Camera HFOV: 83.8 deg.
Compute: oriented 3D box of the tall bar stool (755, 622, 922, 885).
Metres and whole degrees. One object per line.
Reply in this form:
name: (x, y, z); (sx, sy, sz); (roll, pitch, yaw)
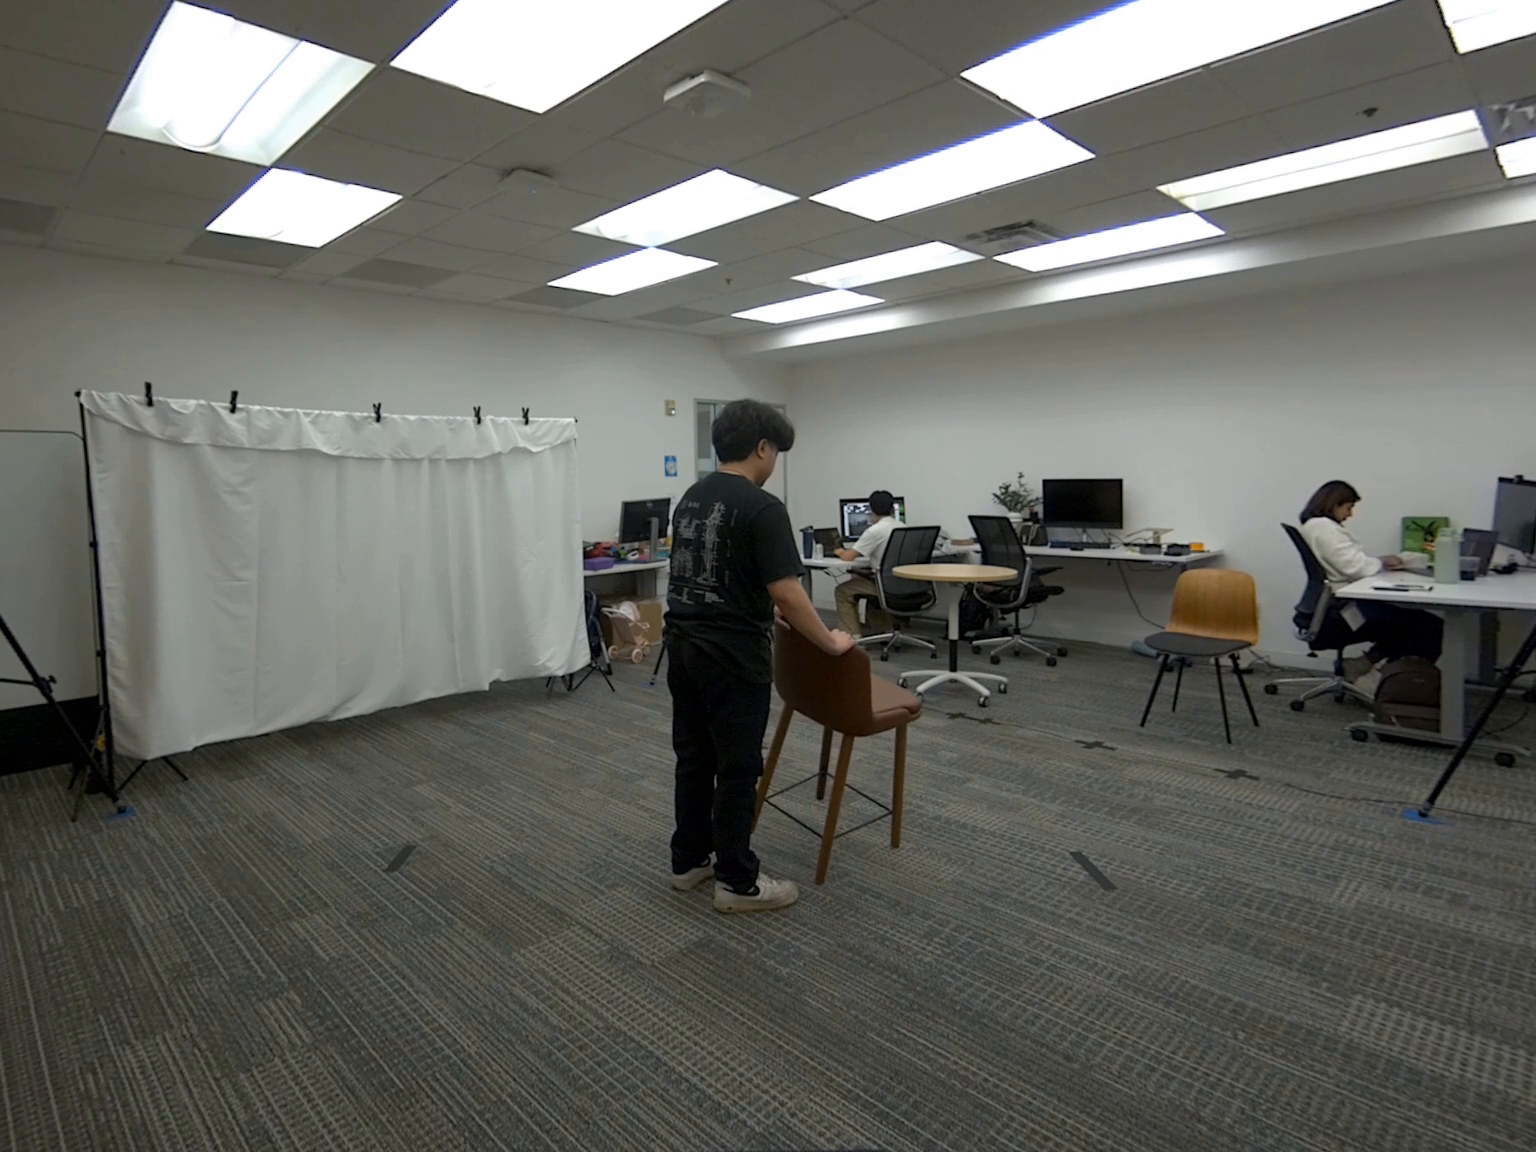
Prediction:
tall bar stool: (0.251, 0.568, 3.109); (0.456, 0.879, 0.473); (-9, 21, -44)
